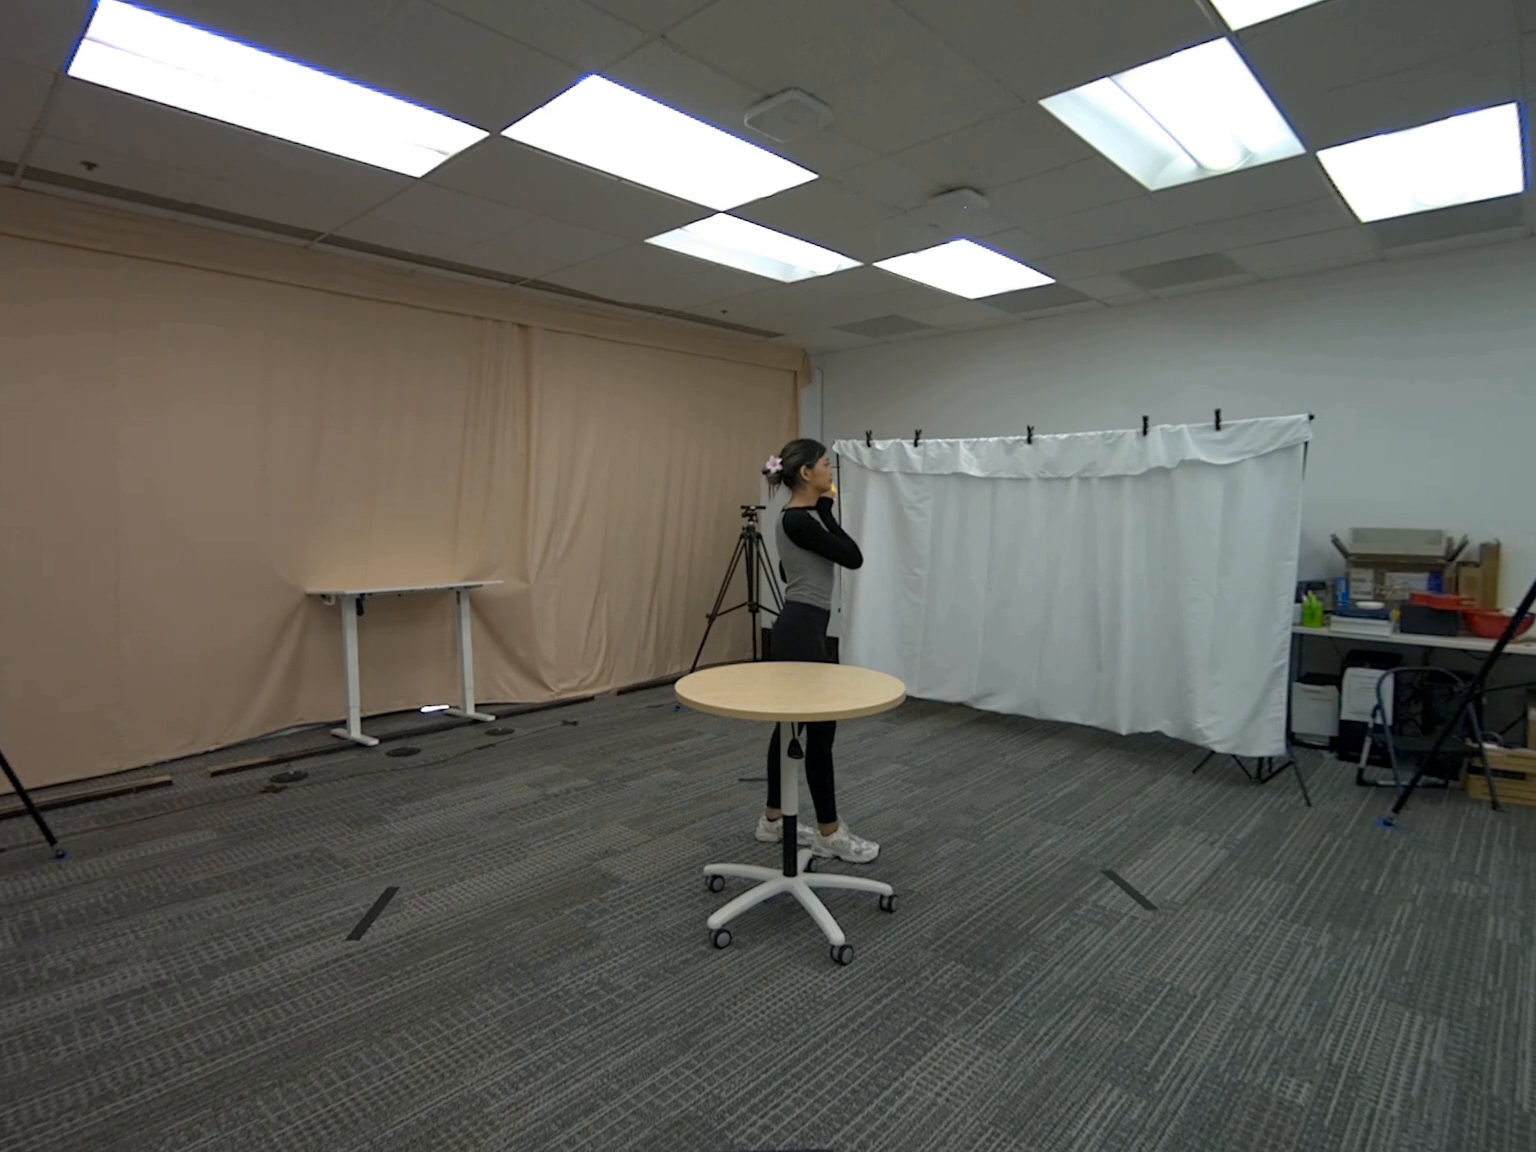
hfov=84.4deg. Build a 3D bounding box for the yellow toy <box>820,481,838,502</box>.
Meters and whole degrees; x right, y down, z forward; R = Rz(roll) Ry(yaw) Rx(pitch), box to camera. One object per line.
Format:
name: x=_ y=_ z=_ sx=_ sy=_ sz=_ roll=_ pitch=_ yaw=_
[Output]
yellow toy: x=0.190 y=-0.424 z=3.558 sx=0.194 sy=0.232 sz=0.202 roll=-13 pitch=-5 yaw=5
